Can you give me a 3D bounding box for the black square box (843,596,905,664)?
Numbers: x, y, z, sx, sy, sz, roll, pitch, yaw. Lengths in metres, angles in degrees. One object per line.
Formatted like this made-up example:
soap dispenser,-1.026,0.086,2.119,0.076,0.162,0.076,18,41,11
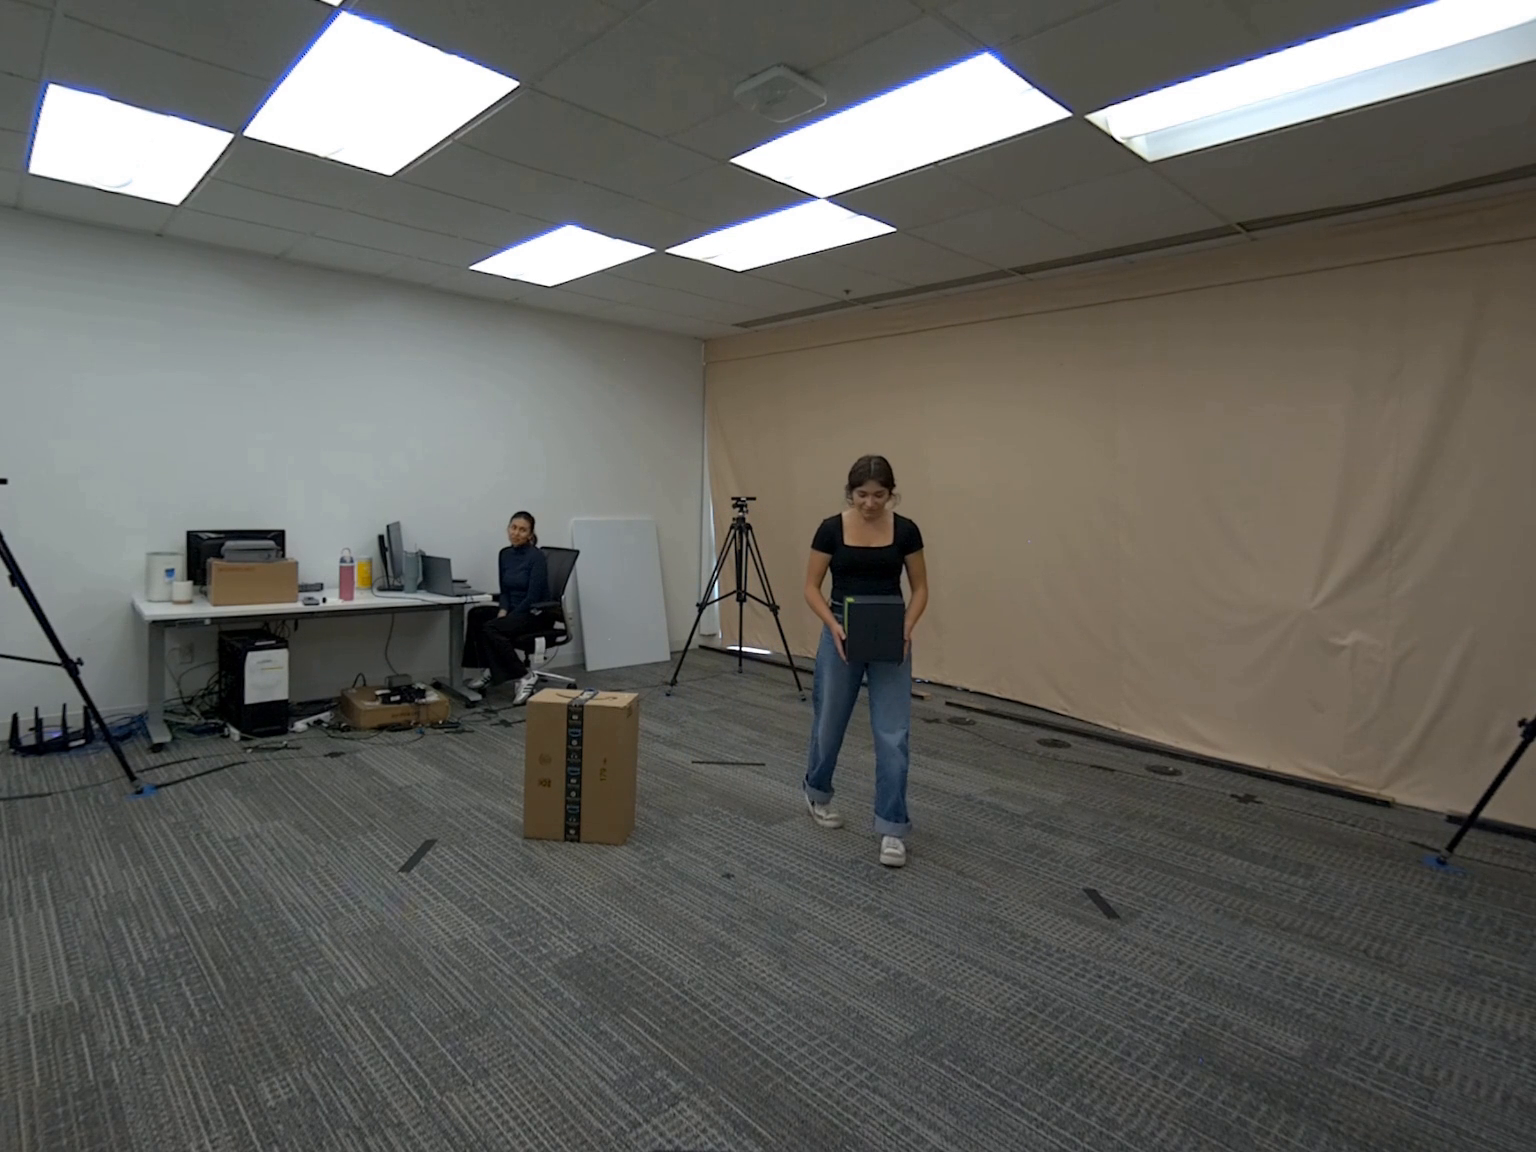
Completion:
black square box,0.394,0.190,3.218,0.218,0.227,0.156,-3,7,5
